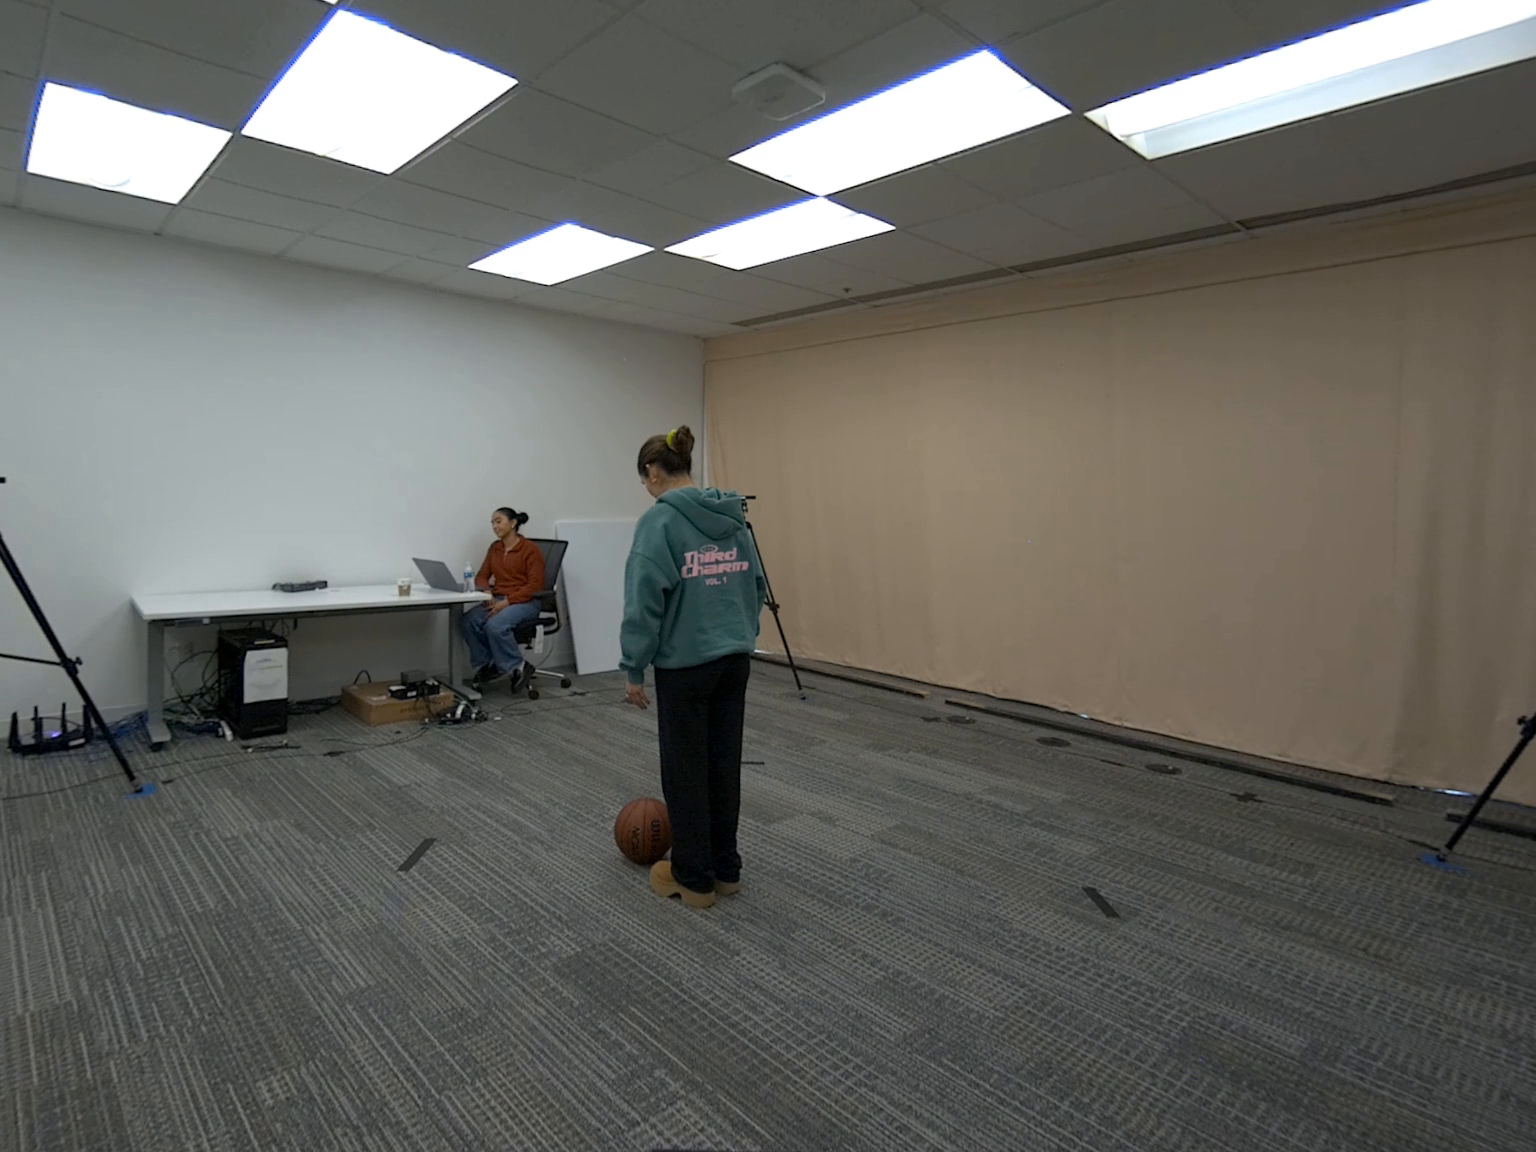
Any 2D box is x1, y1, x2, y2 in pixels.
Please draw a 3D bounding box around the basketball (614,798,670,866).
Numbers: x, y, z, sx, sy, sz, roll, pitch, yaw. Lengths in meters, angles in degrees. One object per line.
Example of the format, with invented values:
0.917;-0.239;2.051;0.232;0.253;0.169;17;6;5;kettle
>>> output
-0.477;0.965;3.209;0.236;0.235;0.237;1;4;-1;basketball
